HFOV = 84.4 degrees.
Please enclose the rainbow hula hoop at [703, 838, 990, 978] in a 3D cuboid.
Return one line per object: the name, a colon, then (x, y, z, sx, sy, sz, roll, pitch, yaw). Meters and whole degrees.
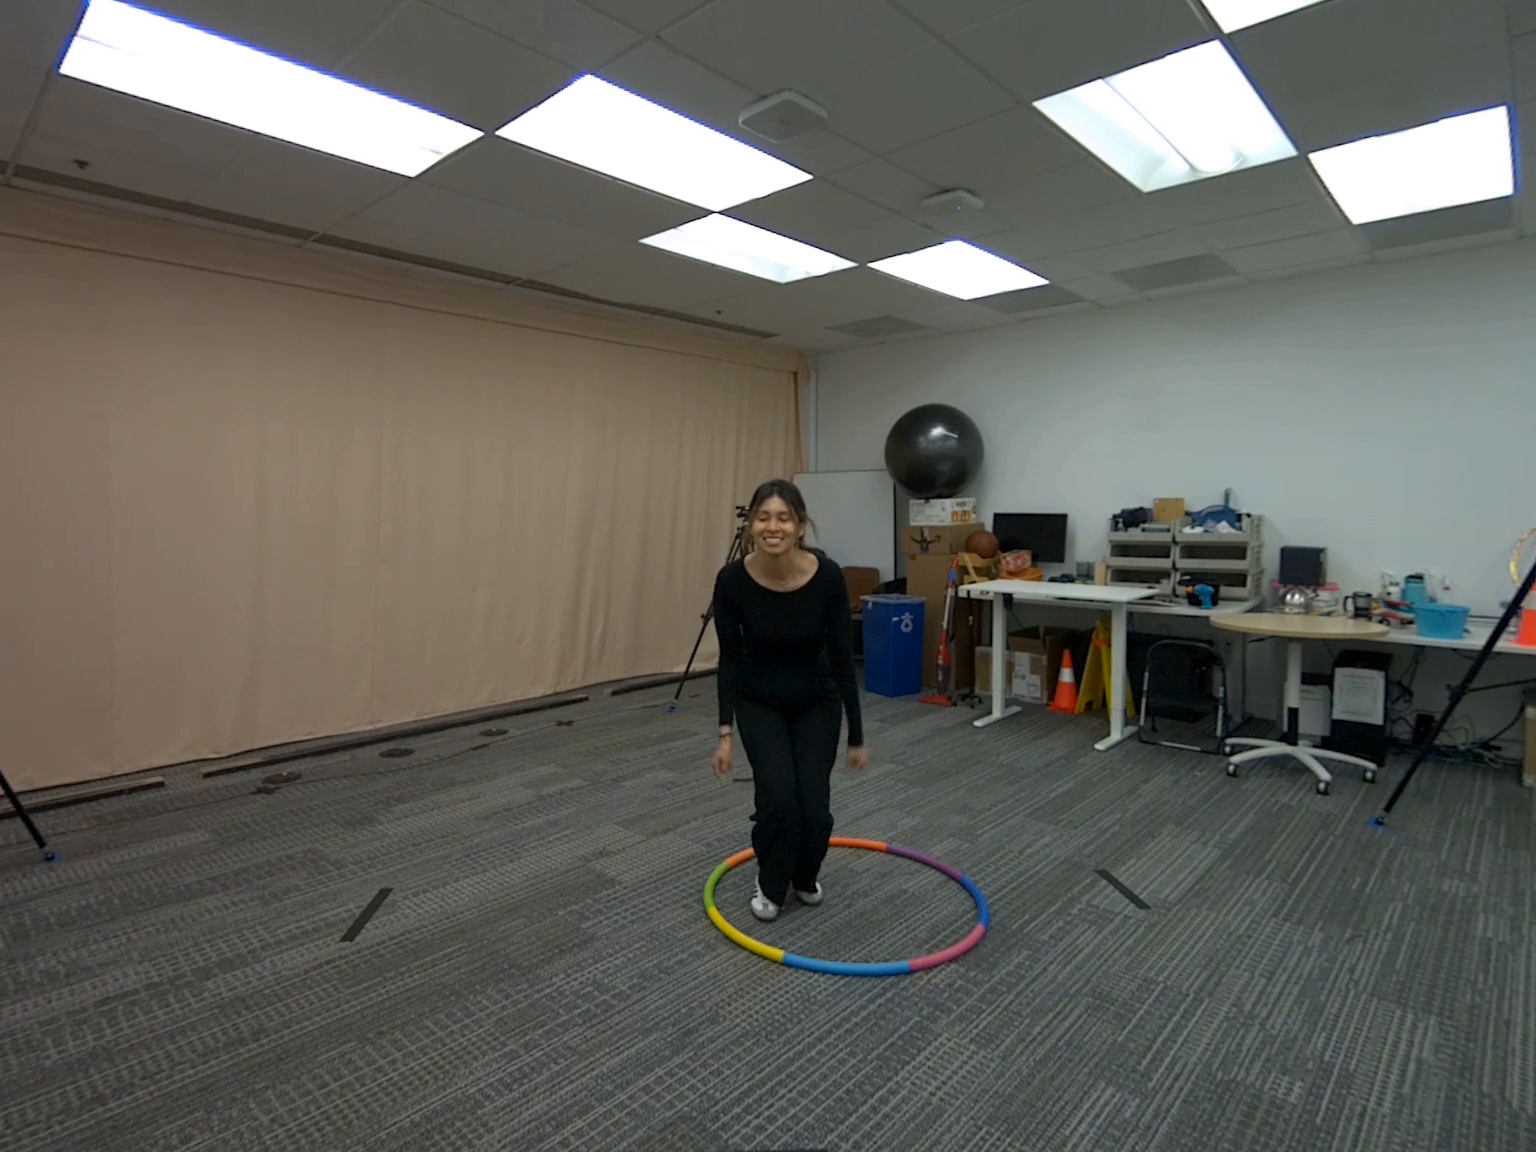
rainbow hula hoop: (0.265, 1.118, 2.971, 0.978, 0.035, 0.982, 0, 5, -2)
